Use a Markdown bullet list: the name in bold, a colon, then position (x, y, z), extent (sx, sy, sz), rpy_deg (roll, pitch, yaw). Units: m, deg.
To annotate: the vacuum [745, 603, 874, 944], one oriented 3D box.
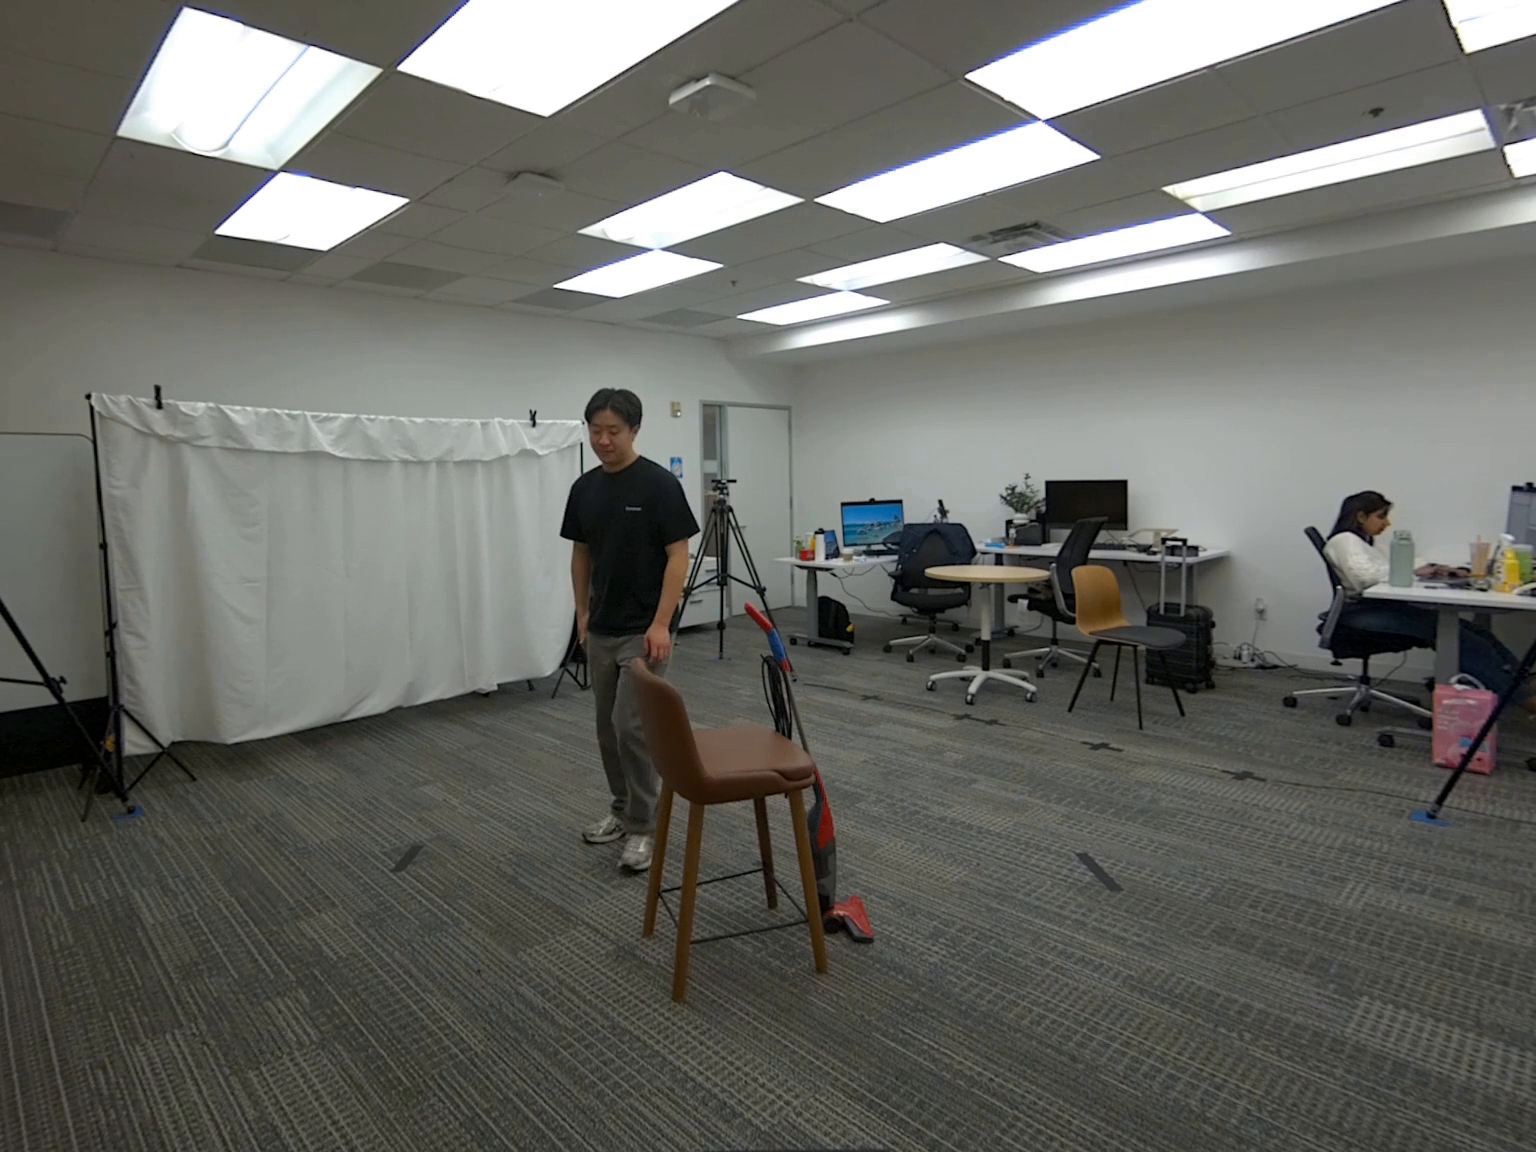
- **vacuum**: position (0.089, 0.585, 2.664), extent (0.144, 1.046, 0.252), rpy_deg (-16, 3, 4)
